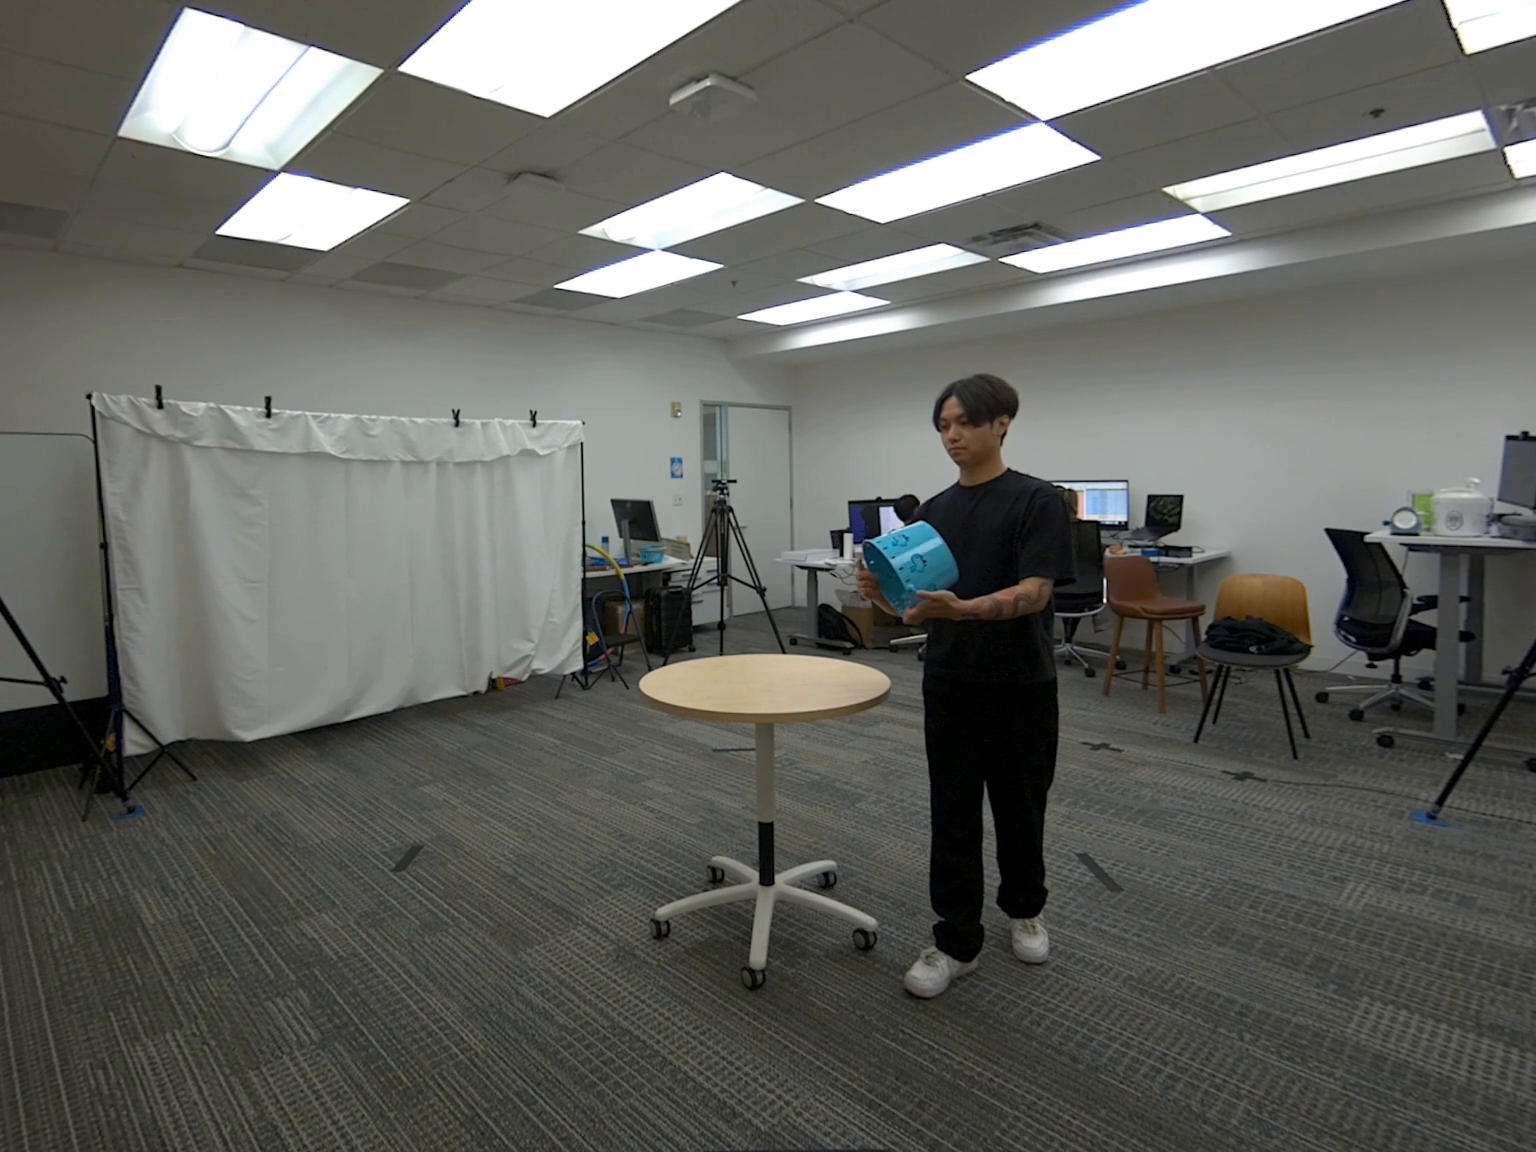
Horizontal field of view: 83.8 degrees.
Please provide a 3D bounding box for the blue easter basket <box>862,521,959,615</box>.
[{"bbox_3d":[0.379,-0.021,2.178,0.155,0.241,0.247,-28,9,-8],"label":"blue easter basket"}]
